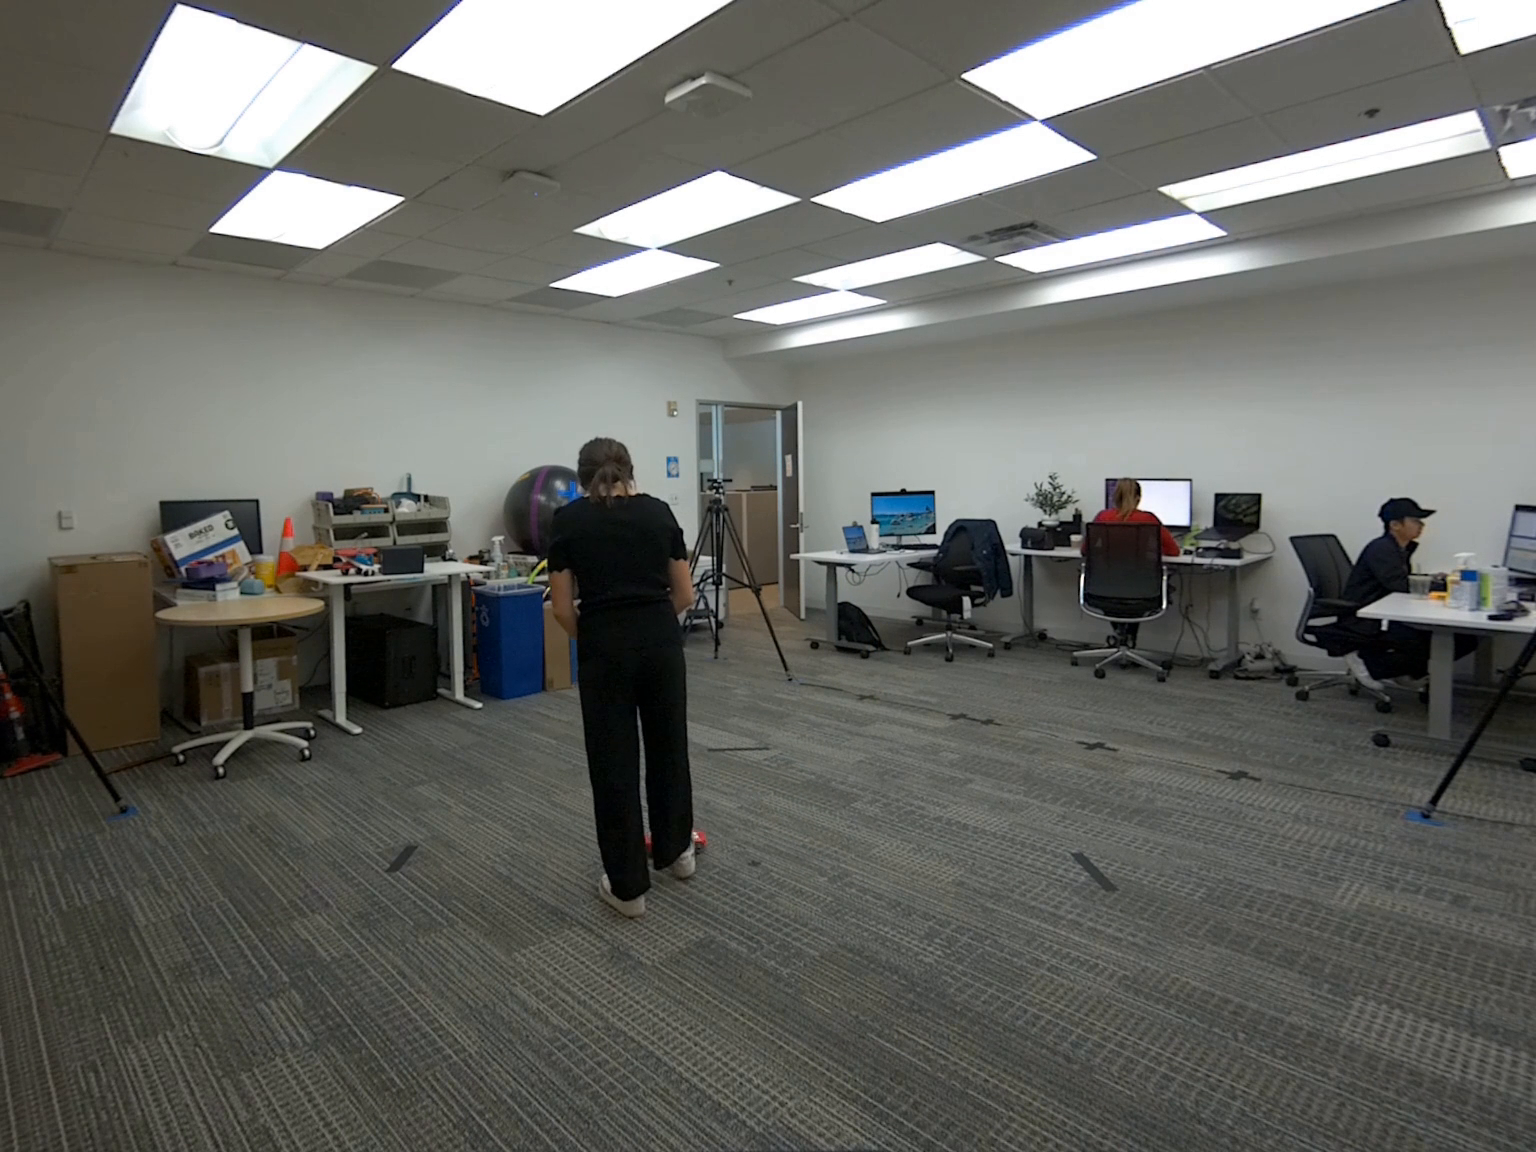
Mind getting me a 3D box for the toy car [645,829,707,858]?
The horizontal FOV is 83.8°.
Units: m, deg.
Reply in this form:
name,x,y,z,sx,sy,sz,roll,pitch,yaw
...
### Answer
name,x,y,z,sx,sy,sz,roll,pitch,yaw
toy car,-0.365,1.004,3.231,0.252,0.083,0.132,10,3,-9
